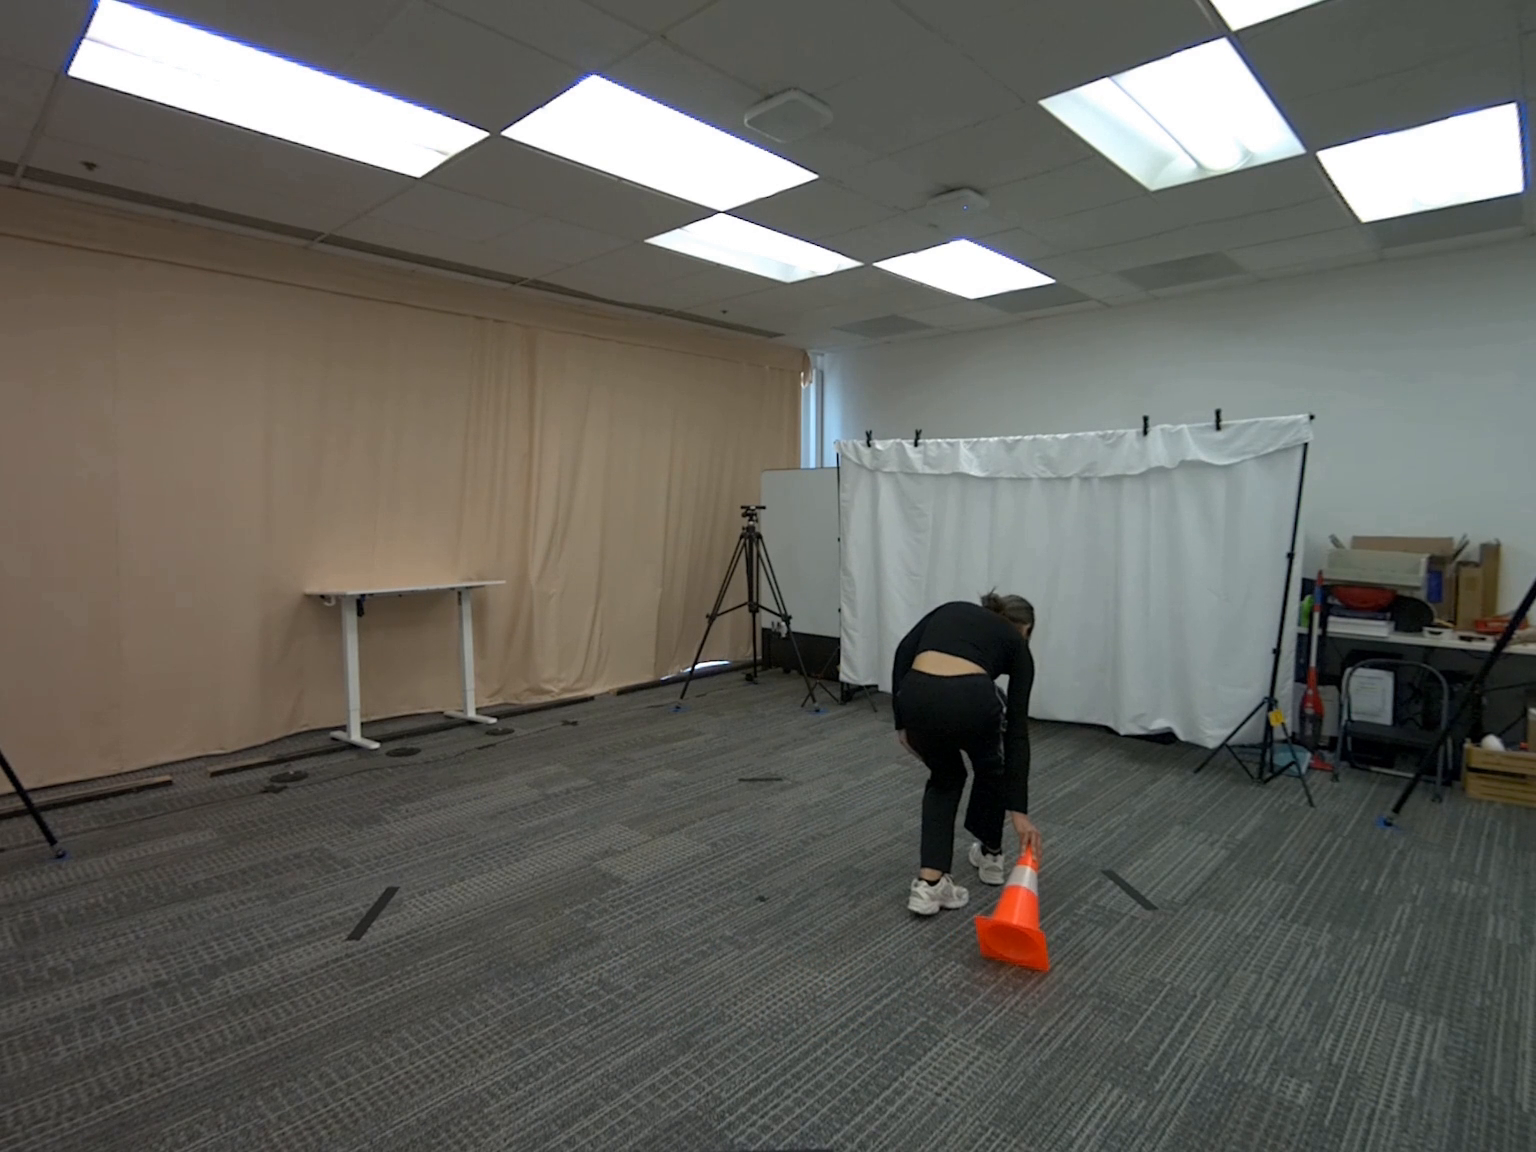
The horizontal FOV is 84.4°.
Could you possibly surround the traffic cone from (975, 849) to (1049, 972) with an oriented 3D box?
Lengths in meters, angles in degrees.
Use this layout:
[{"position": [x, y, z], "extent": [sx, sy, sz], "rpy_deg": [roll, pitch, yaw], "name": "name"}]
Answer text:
[{"position": [0.803, 0.986, 2.646], "extent": [0.211, 0.198, 0.382], "rpy_deg": [-3, 33, 31], "name": "traffic cone"}]
